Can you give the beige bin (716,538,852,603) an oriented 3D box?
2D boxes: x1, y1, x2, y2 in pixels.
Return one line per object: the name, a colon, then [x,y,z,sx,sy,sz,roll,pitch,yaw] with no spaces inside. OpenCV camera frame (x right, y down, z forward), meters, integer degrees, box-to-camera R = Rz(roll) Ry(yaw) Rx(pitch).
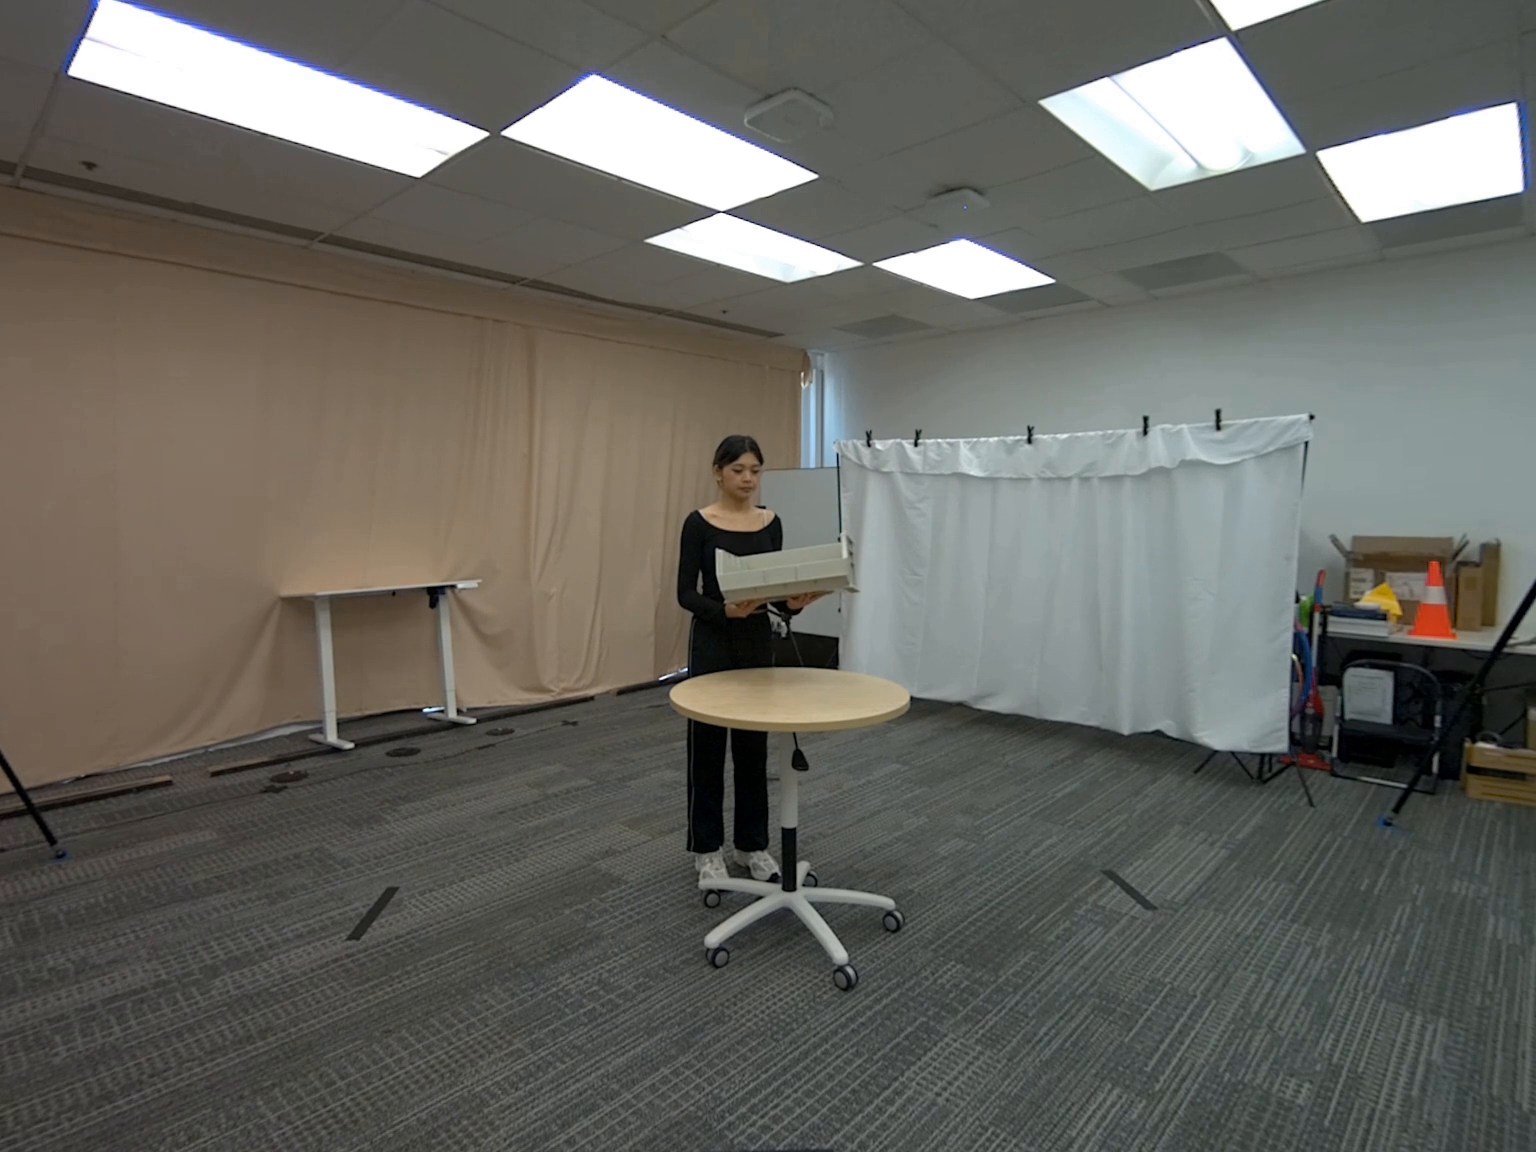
beige bin: [0.084,-0.013,2.780,0.427,0.190,0.370,-8,-8,11]
